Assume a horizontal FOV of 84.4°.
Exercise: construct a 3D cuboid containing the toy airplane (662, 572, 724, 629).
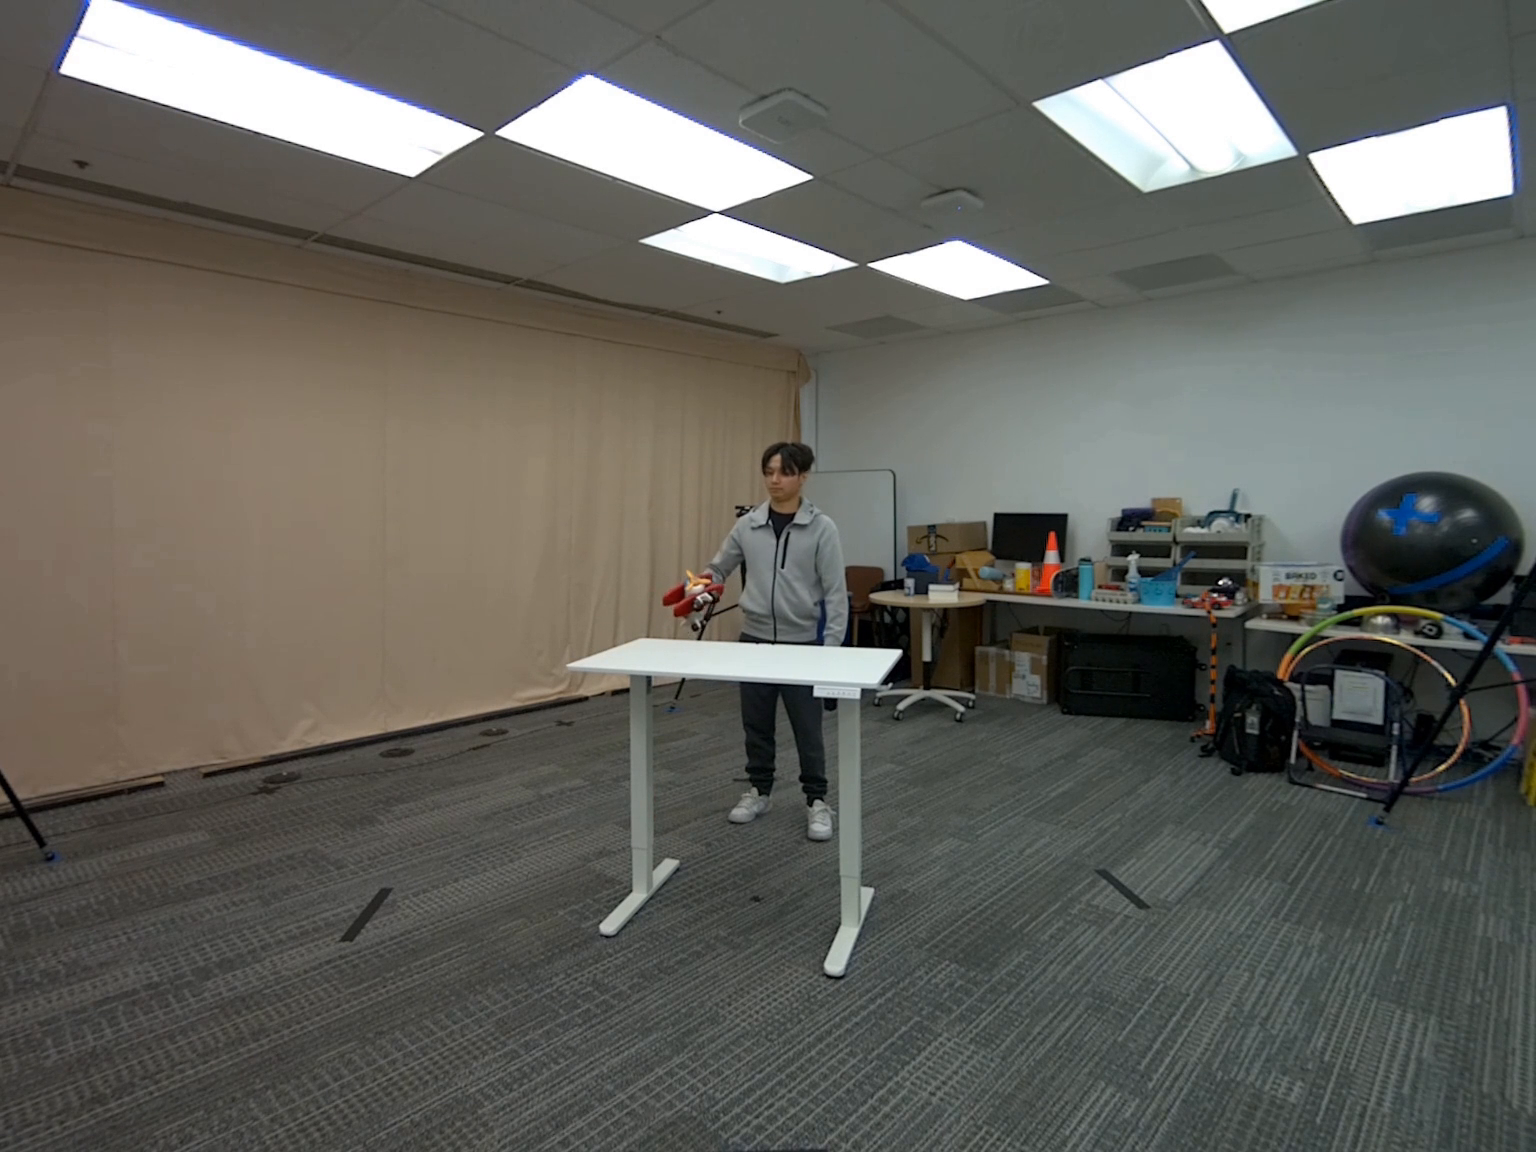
[{"bbox_3d":[-0.316,0.120,3.505,0.260,0.160,0.244,-50,-24,26],"label":"toy airplane"}]
